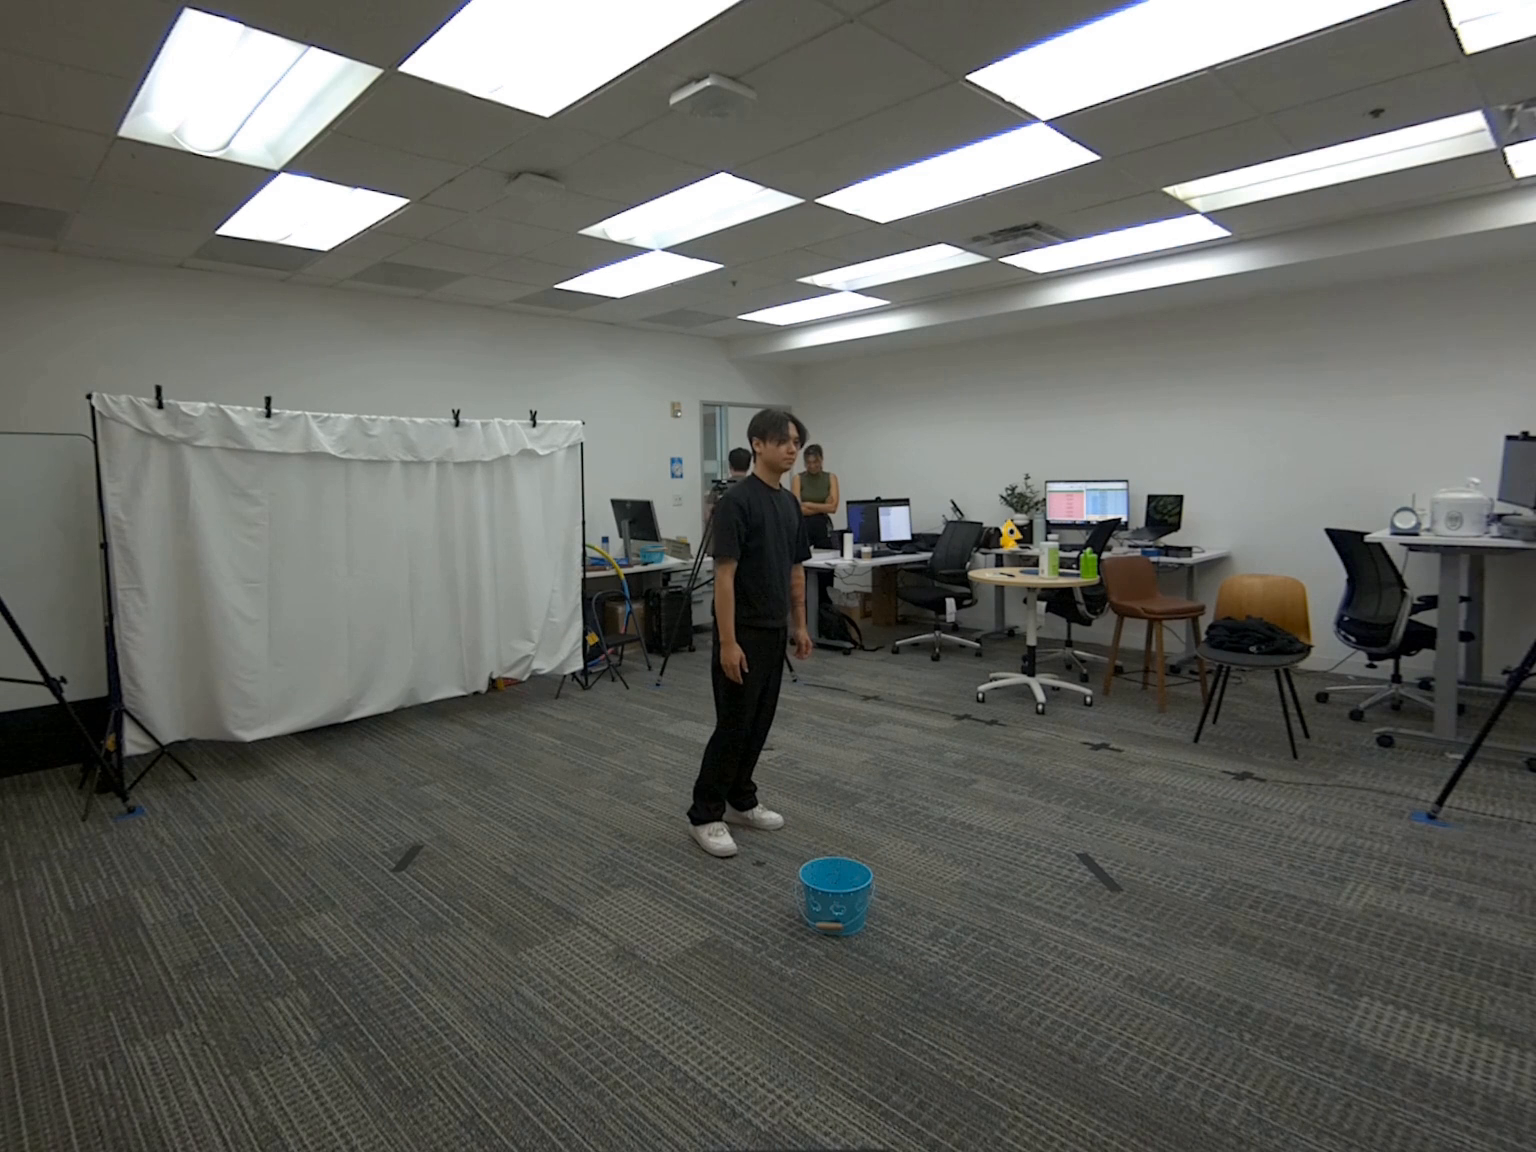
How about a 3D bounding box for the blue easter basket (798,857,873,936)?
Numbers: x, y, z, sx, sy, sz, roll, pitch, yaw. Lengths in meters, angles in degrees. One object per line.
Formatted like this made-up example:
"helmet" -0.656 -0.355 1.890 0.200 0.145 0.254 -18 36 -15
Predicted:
"blue easter basket" 0.214 1.014 2.692 0.243 0.155 0.245 -1 5 -2
